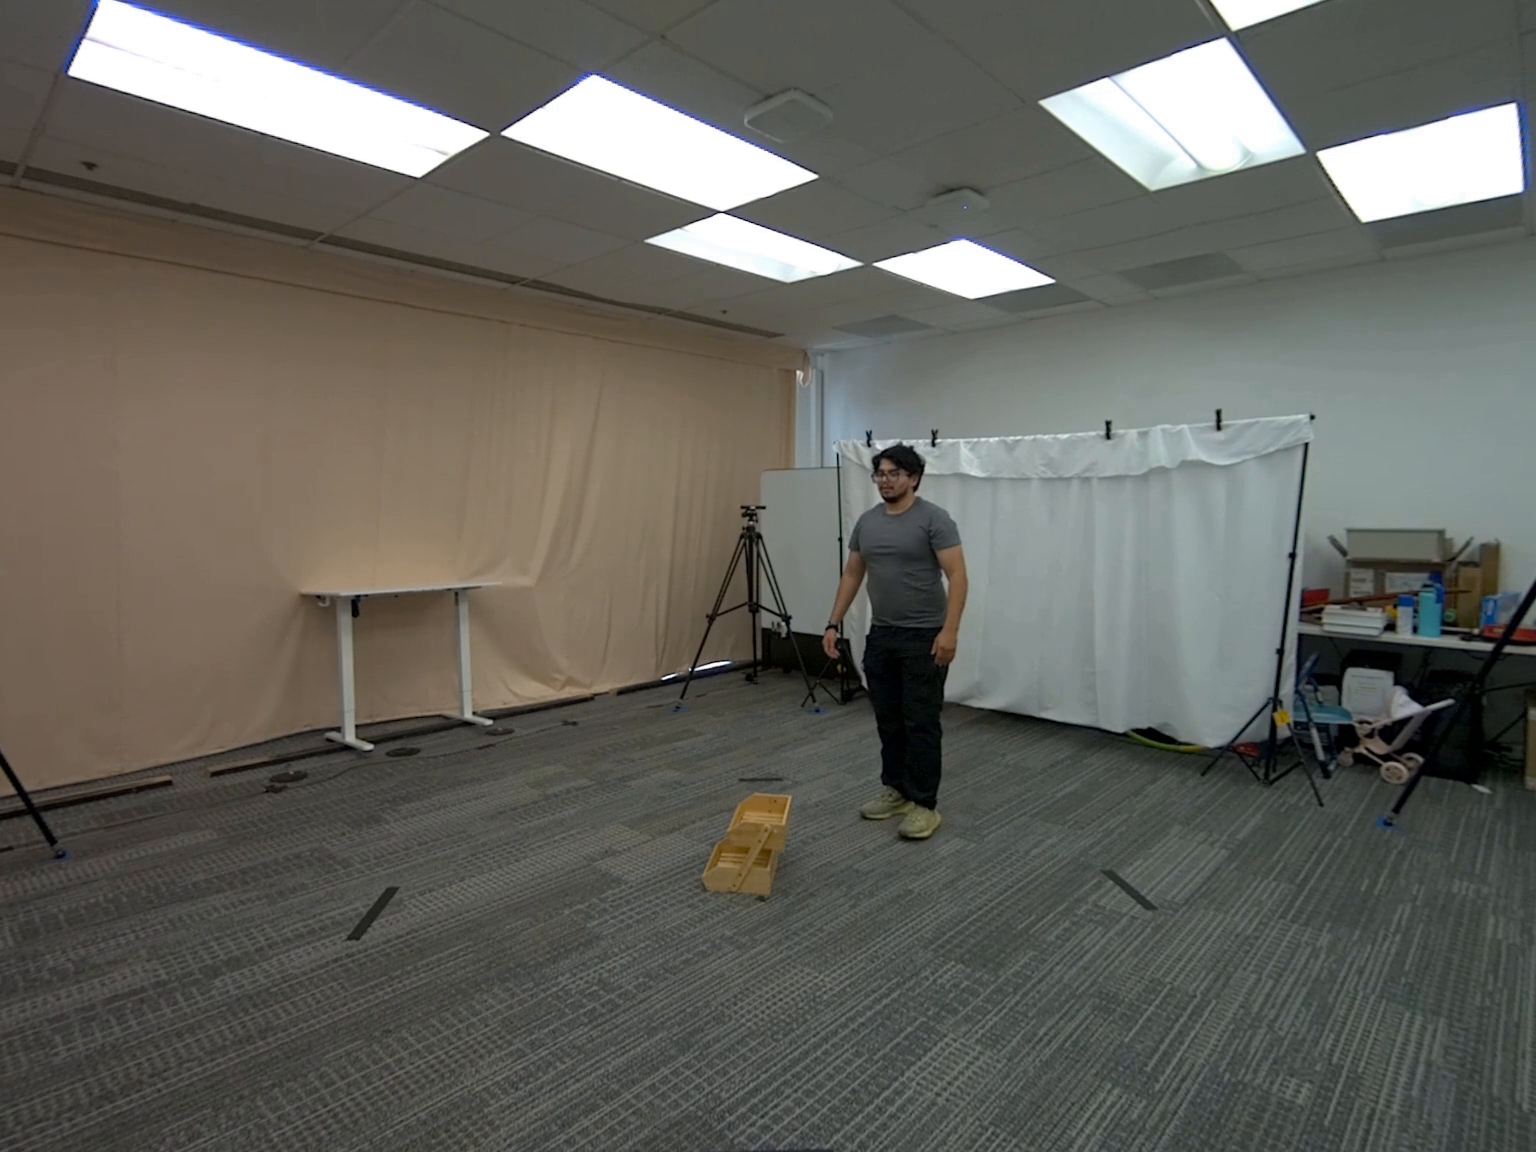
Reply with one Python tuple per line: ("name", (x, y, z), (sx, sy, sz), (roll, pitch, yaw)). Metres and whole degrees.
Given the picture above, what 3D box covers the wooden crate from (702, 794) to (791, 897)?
("wooden crate", (-0.076, 0.994, 3.170), (0.305, 0.273, 0.322), (1, 4, 8))
